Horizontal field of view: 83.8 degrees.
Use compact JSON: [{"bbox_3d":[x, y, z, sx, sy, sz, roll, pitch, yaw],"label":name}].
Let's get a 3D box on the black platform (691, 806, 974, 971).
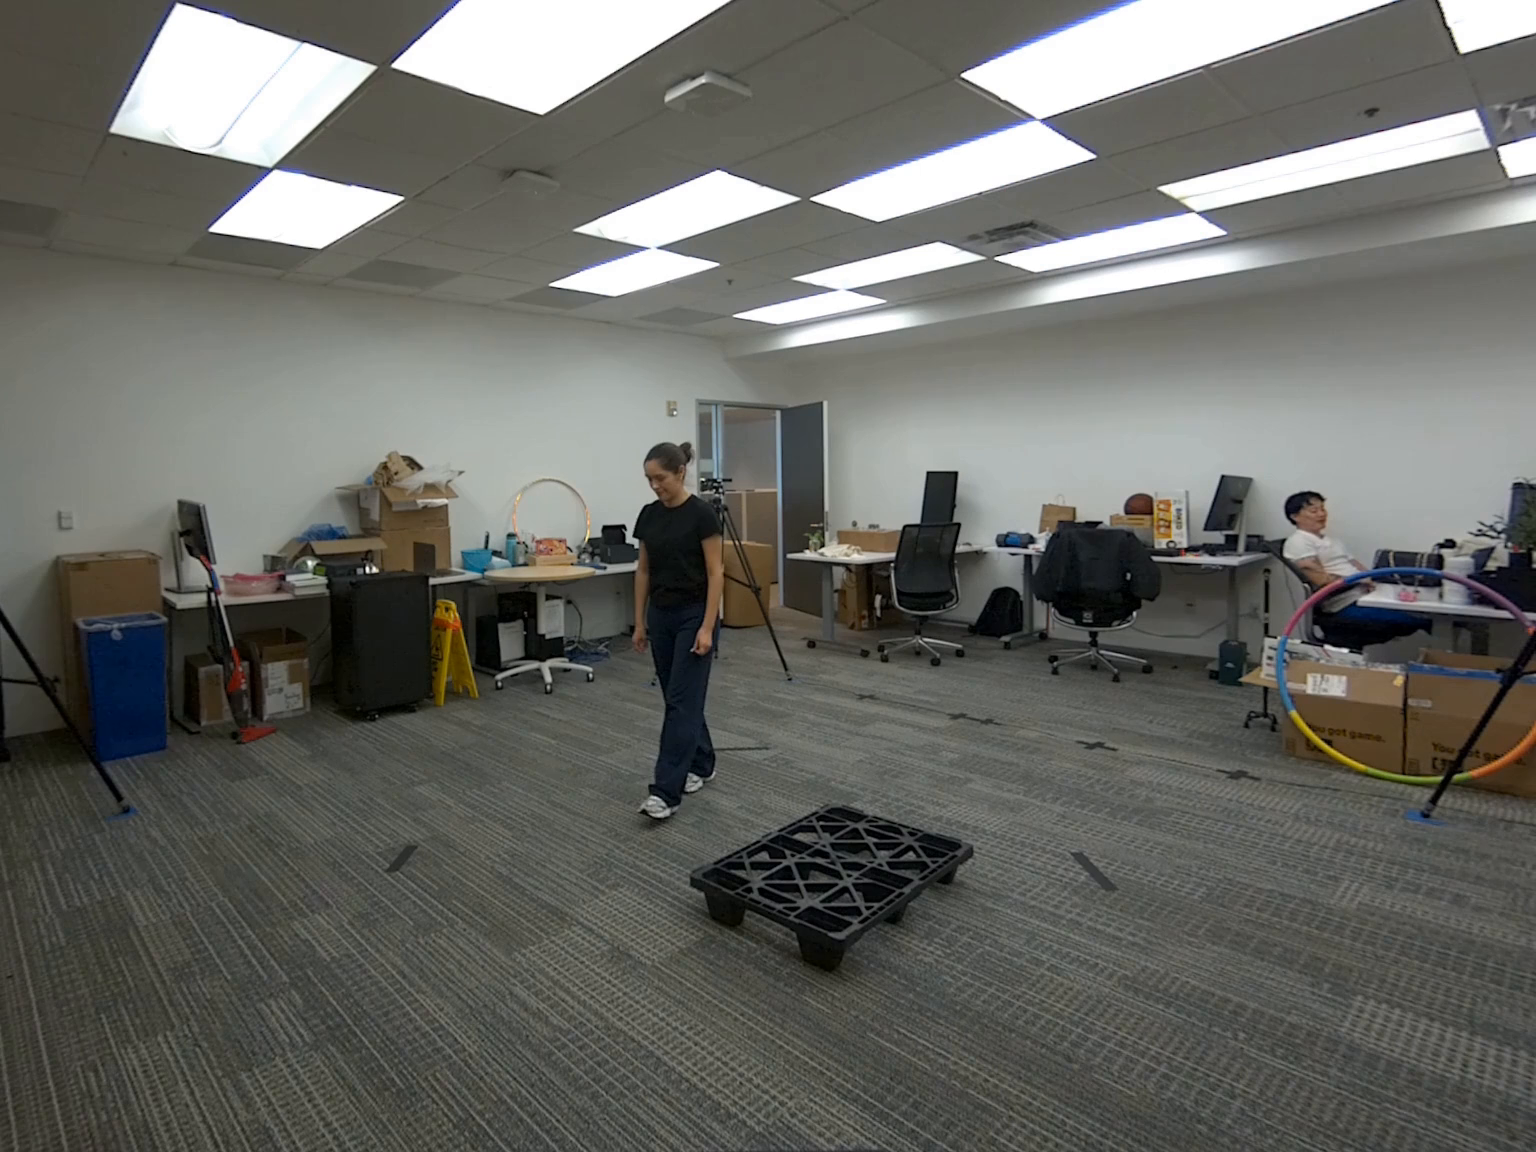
[{"bbox_3d":[0.232,1.004,2.847,0.624,0.142,0.785,5,9,40],"label":"black platform"}]
